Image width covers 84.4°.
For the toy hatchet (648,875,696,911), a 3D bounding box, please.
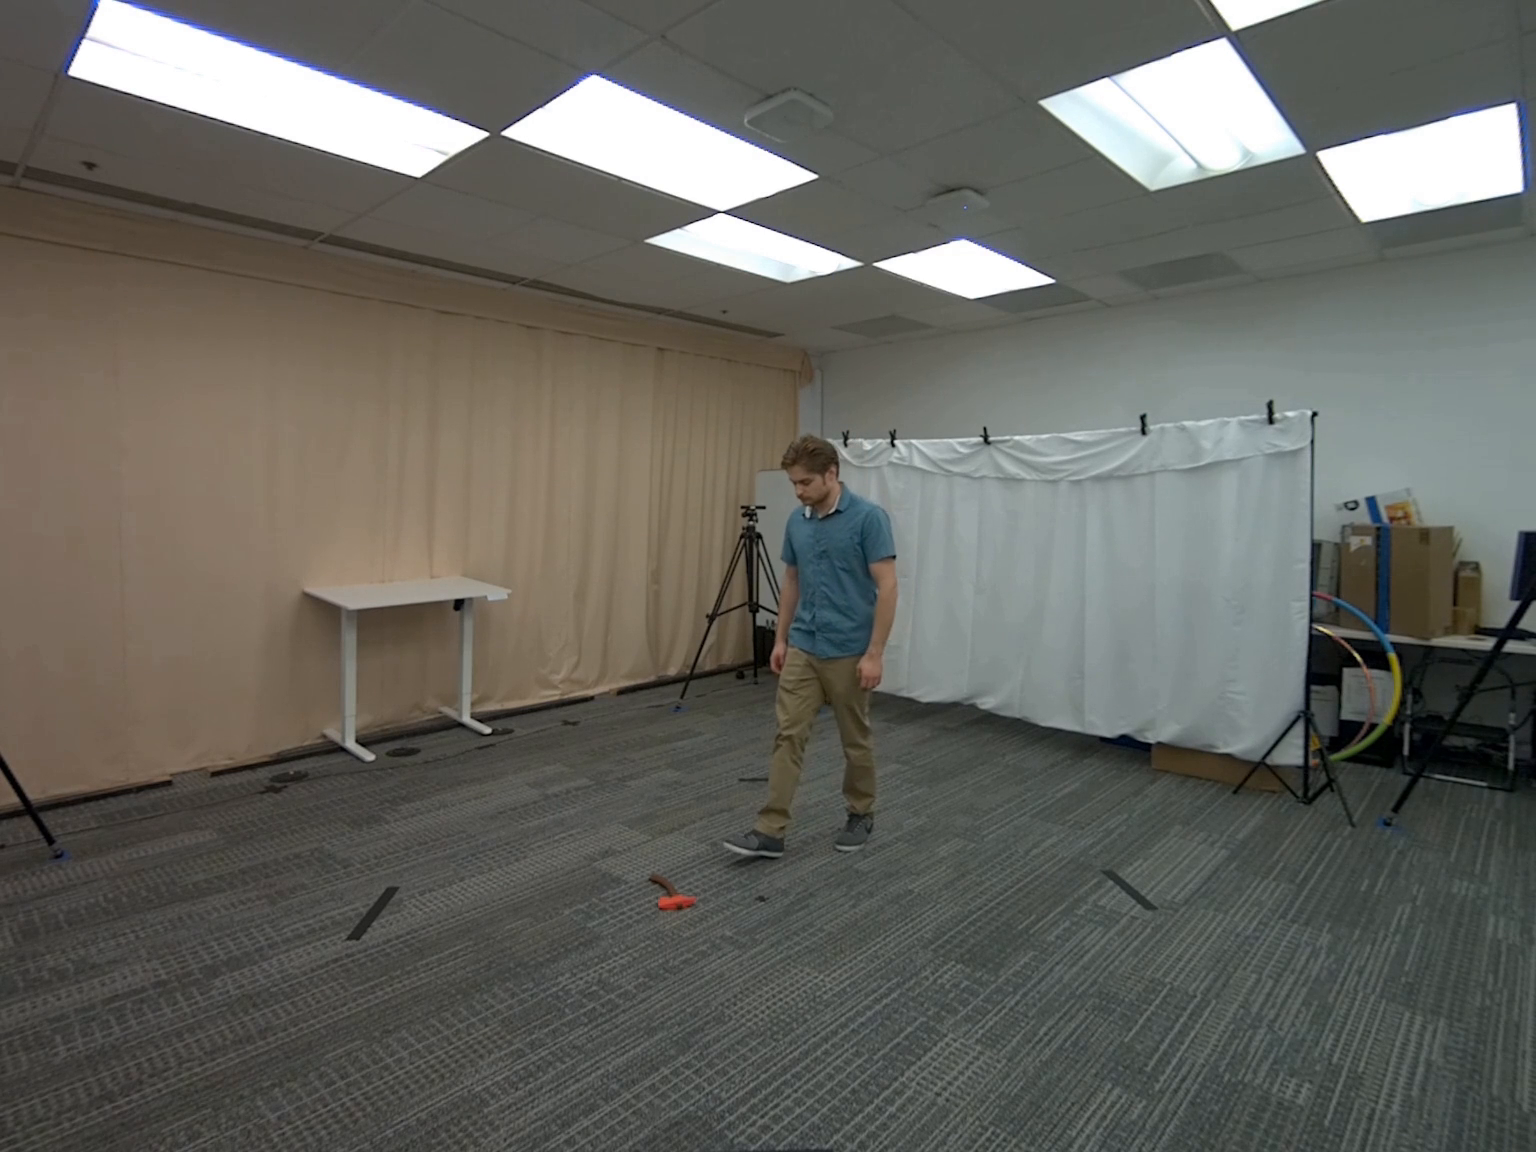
[{"bbox_3d":[-0.376,1.134,3.008,0.127,0.029,0.279,-8,7,-37],"label":"toy hatchet"}]
